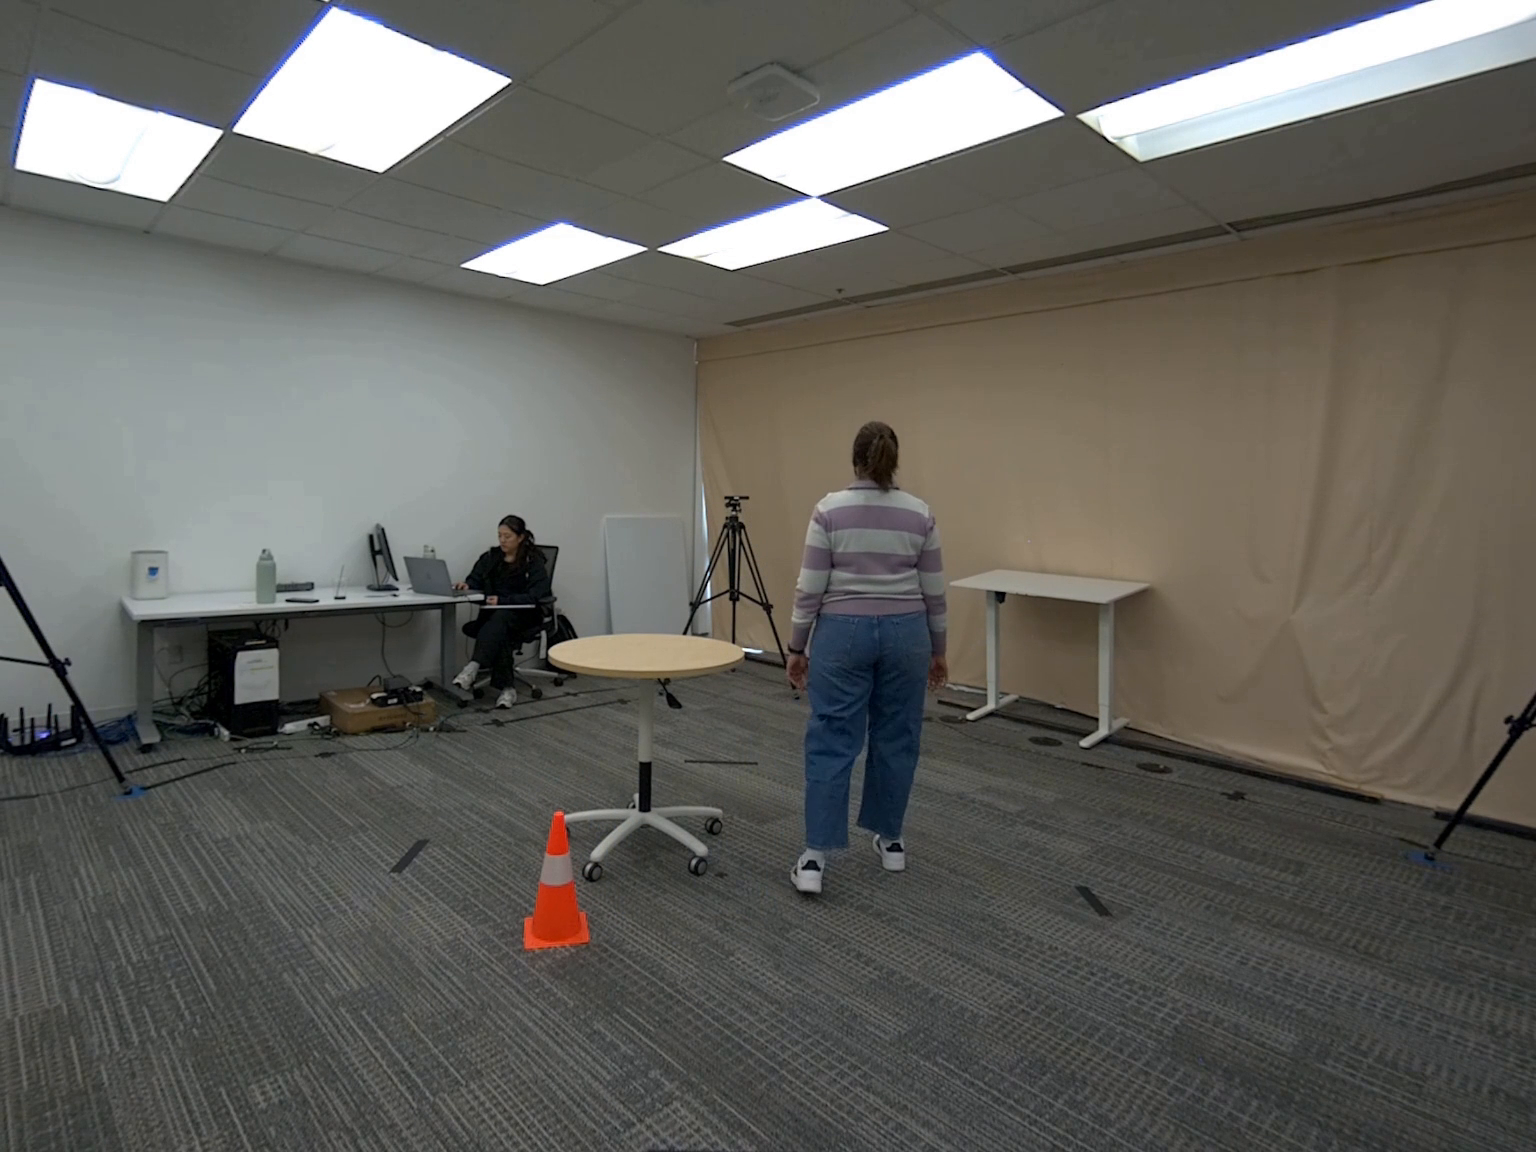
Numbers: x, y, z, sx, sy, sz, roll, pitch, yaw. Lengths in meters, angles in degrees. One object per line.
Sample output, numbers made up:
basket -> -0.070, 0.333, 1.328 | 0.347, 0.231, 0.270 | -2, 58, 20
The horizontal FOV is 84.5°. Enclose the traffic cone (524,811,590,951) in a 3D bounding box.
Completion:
traffic cone -> -0.674, 0.949, 2.672 | 0.203, 0.383, 0.206 | 1, 3, -13
